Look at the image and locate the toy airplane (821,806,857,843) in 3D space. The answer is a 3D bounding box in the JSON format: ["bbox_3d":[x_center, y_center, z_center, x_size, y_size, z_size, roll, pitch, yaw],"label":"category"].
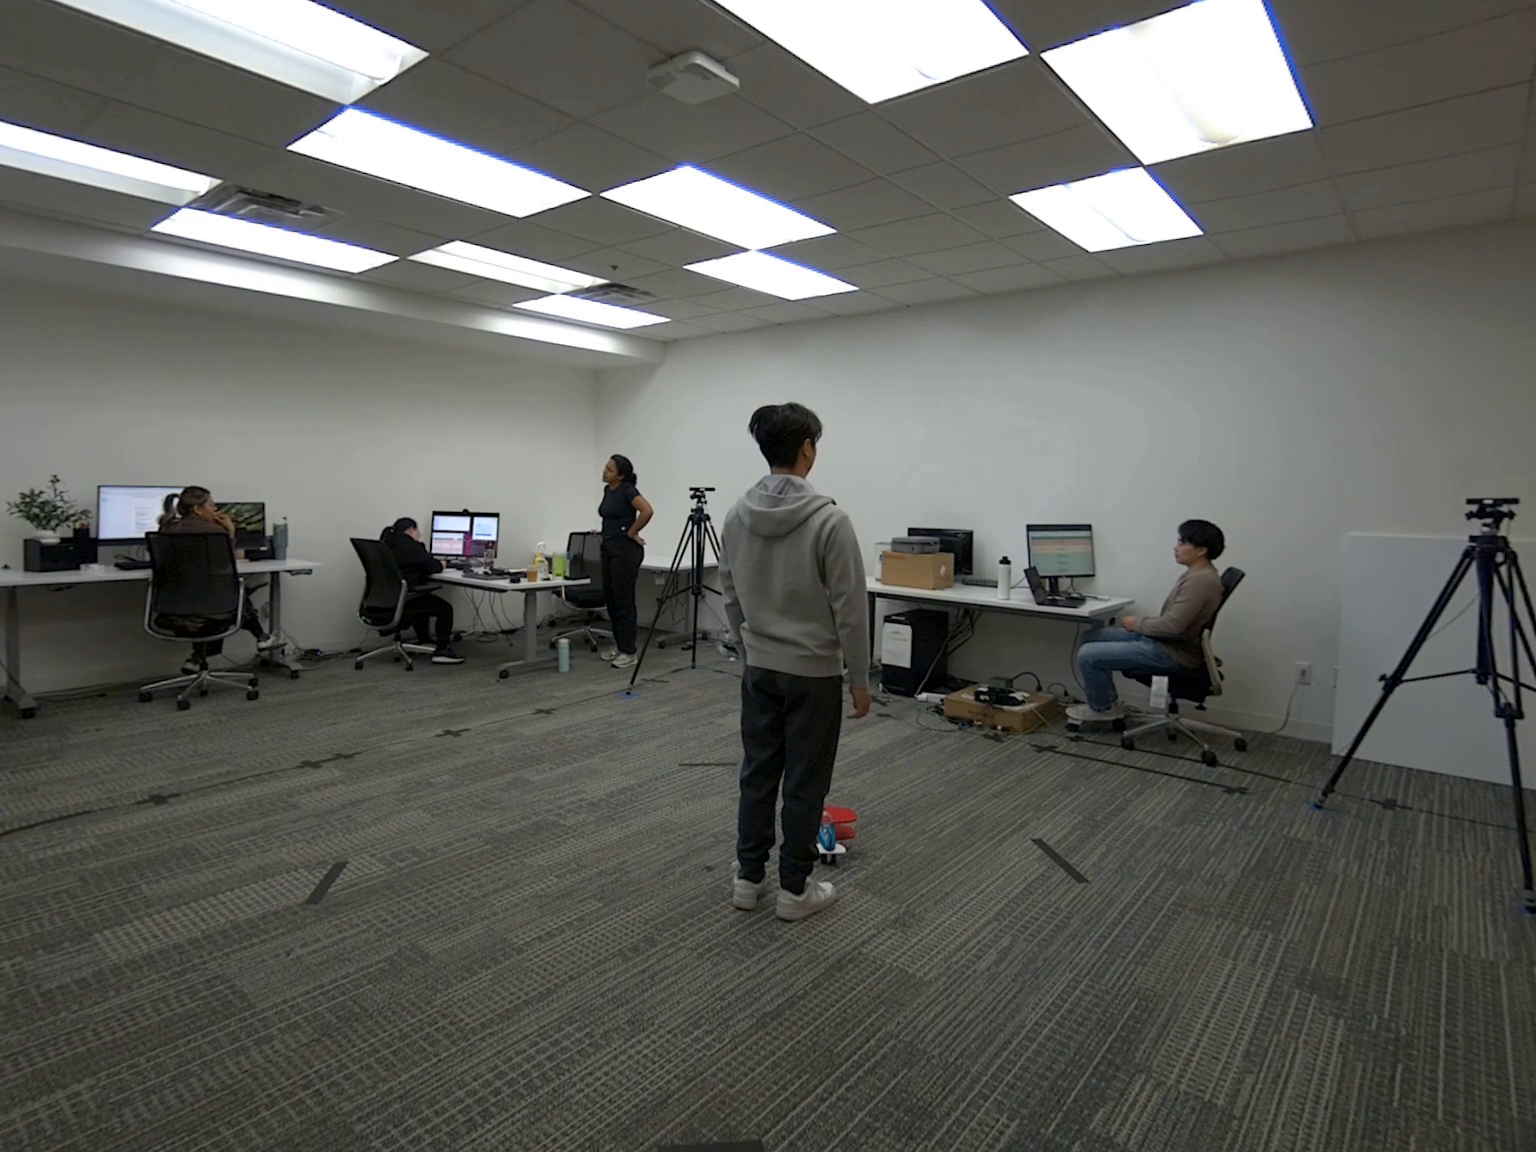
[{"bbox_3d":[0.227,0.981,3.267,0.244,0.156,0.267,-2,6,-32],"label":"toy airplane"}]
